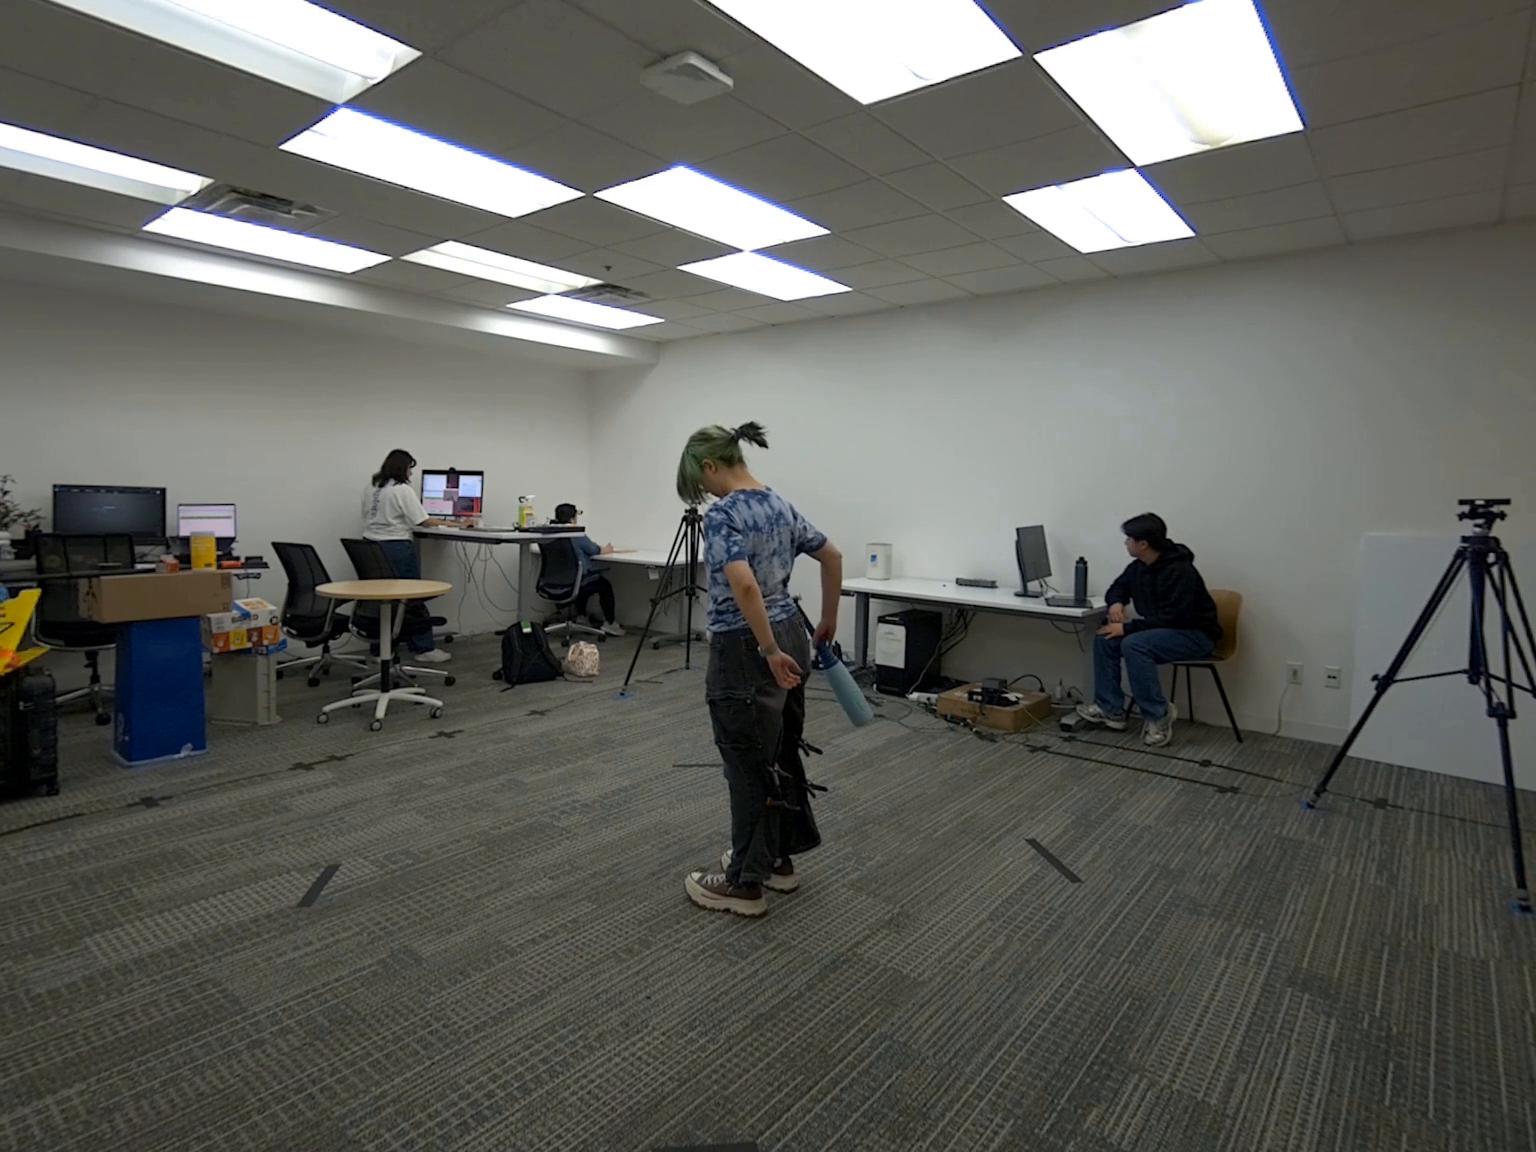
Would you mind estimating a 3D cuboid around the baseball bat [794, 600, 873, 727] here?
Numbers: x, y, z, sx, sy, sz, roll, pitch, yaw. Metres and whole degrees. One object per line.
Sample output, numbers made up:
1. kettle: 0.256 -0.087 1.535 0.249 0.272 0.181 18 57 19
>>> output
1. baseball bat: 0.192 0.310 3.138 0.089 0.541 0.089 -30 2 1
